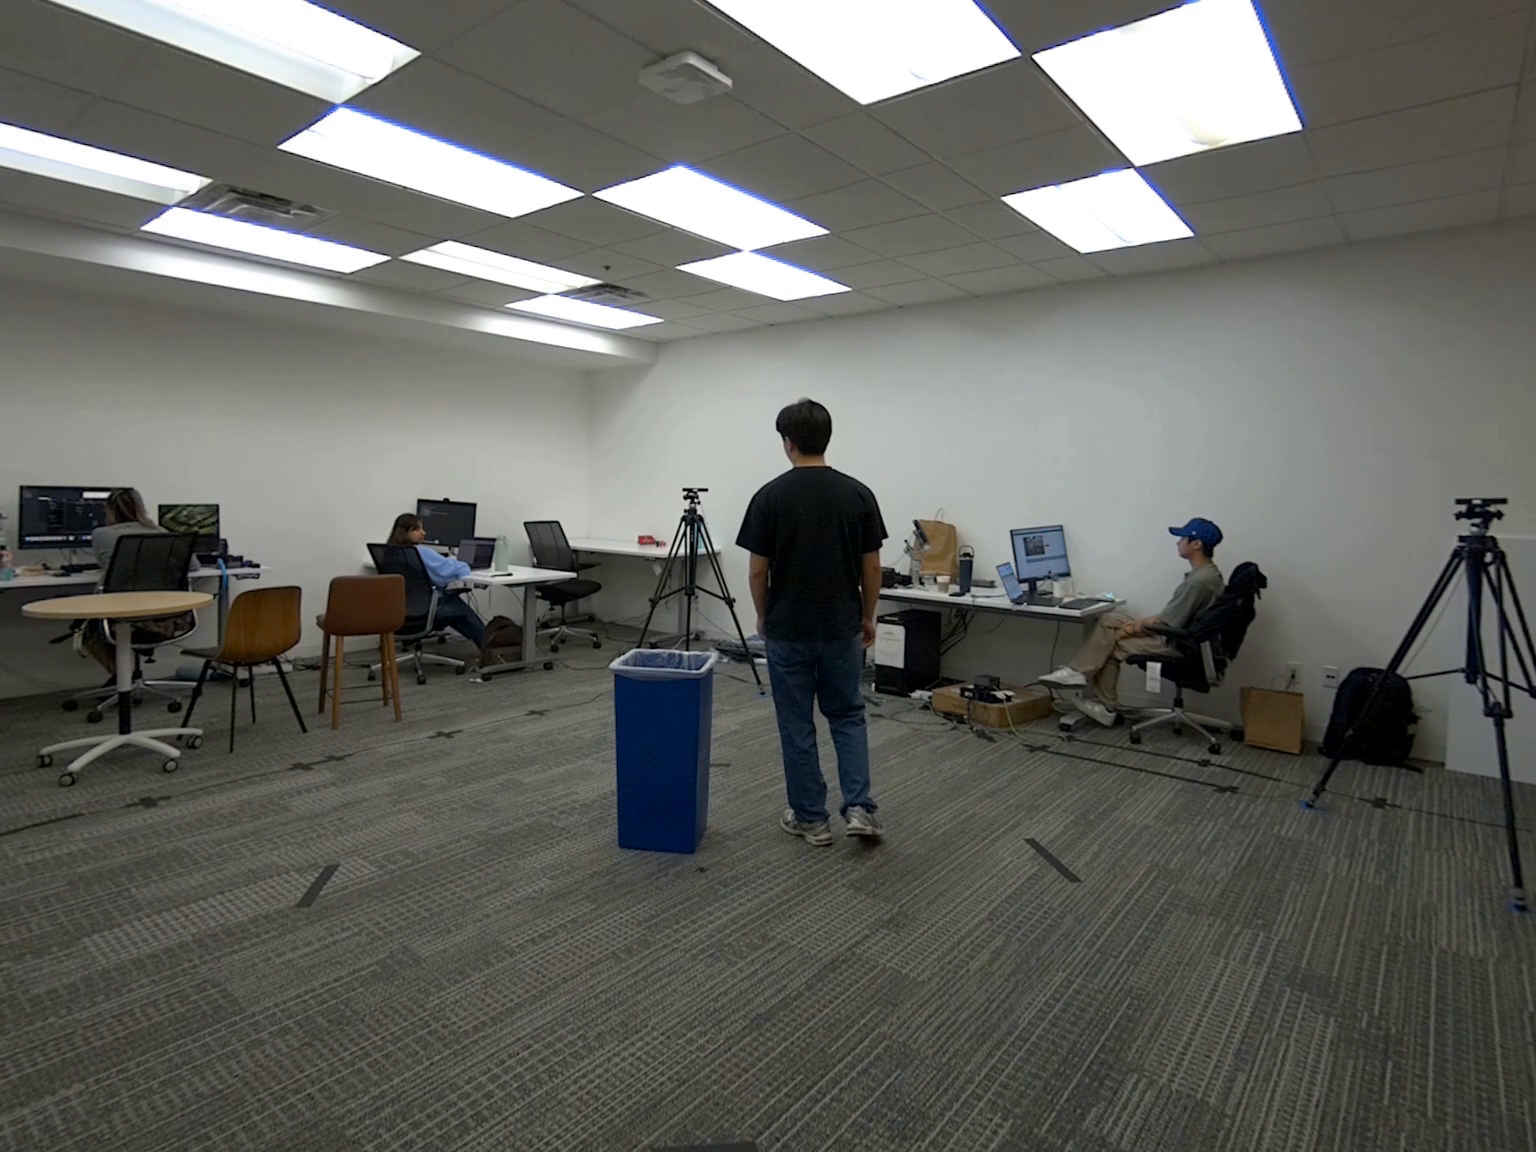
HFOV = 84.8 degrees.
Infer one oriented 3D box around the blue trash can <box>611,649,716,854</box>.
[{"bbox_3d":[-0.423,0.678,3.392,0.382,0.710,0.372,1,5,7],"label":"blue trash can"}]
